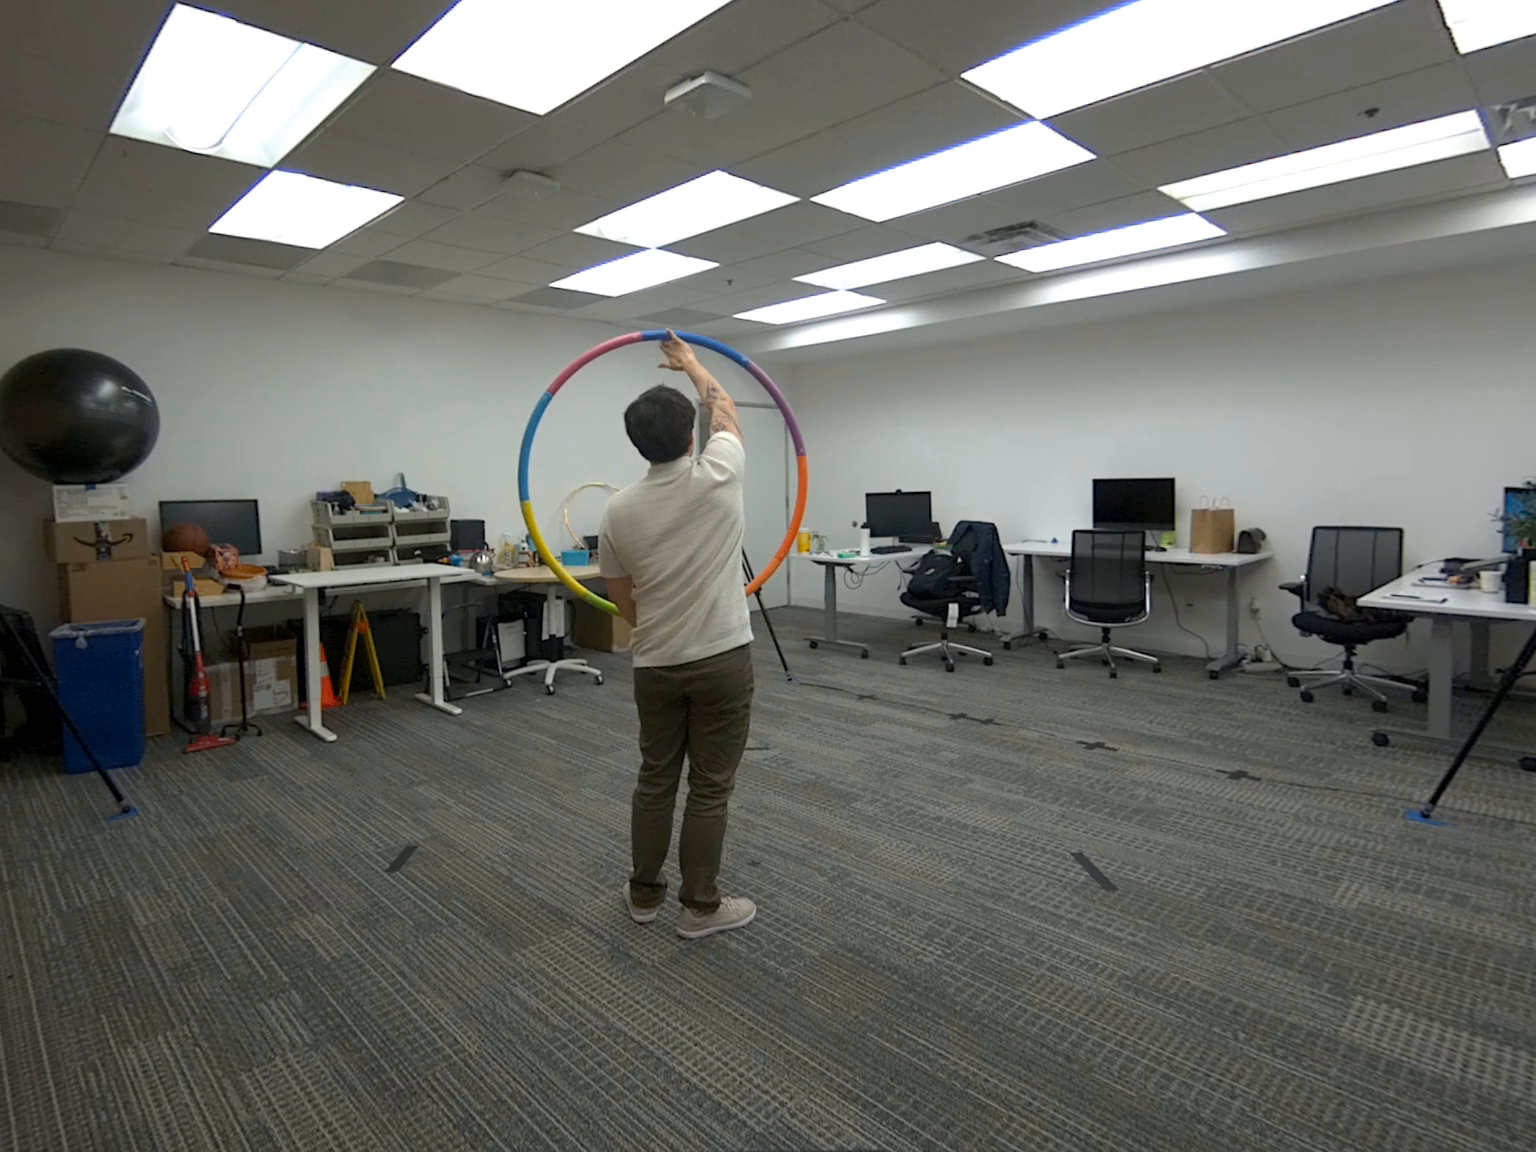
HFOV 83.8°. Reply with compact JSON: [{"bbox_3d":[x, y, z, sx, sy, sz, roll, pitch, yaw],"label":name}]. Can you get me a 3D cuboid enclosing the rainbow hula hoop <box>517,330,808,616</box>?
[{"bbox_3d":[-0.351,-0.328,2.900,0.971,0.975,0.036,-2,3,-8],"label":"rainbow hula hoop"}]
